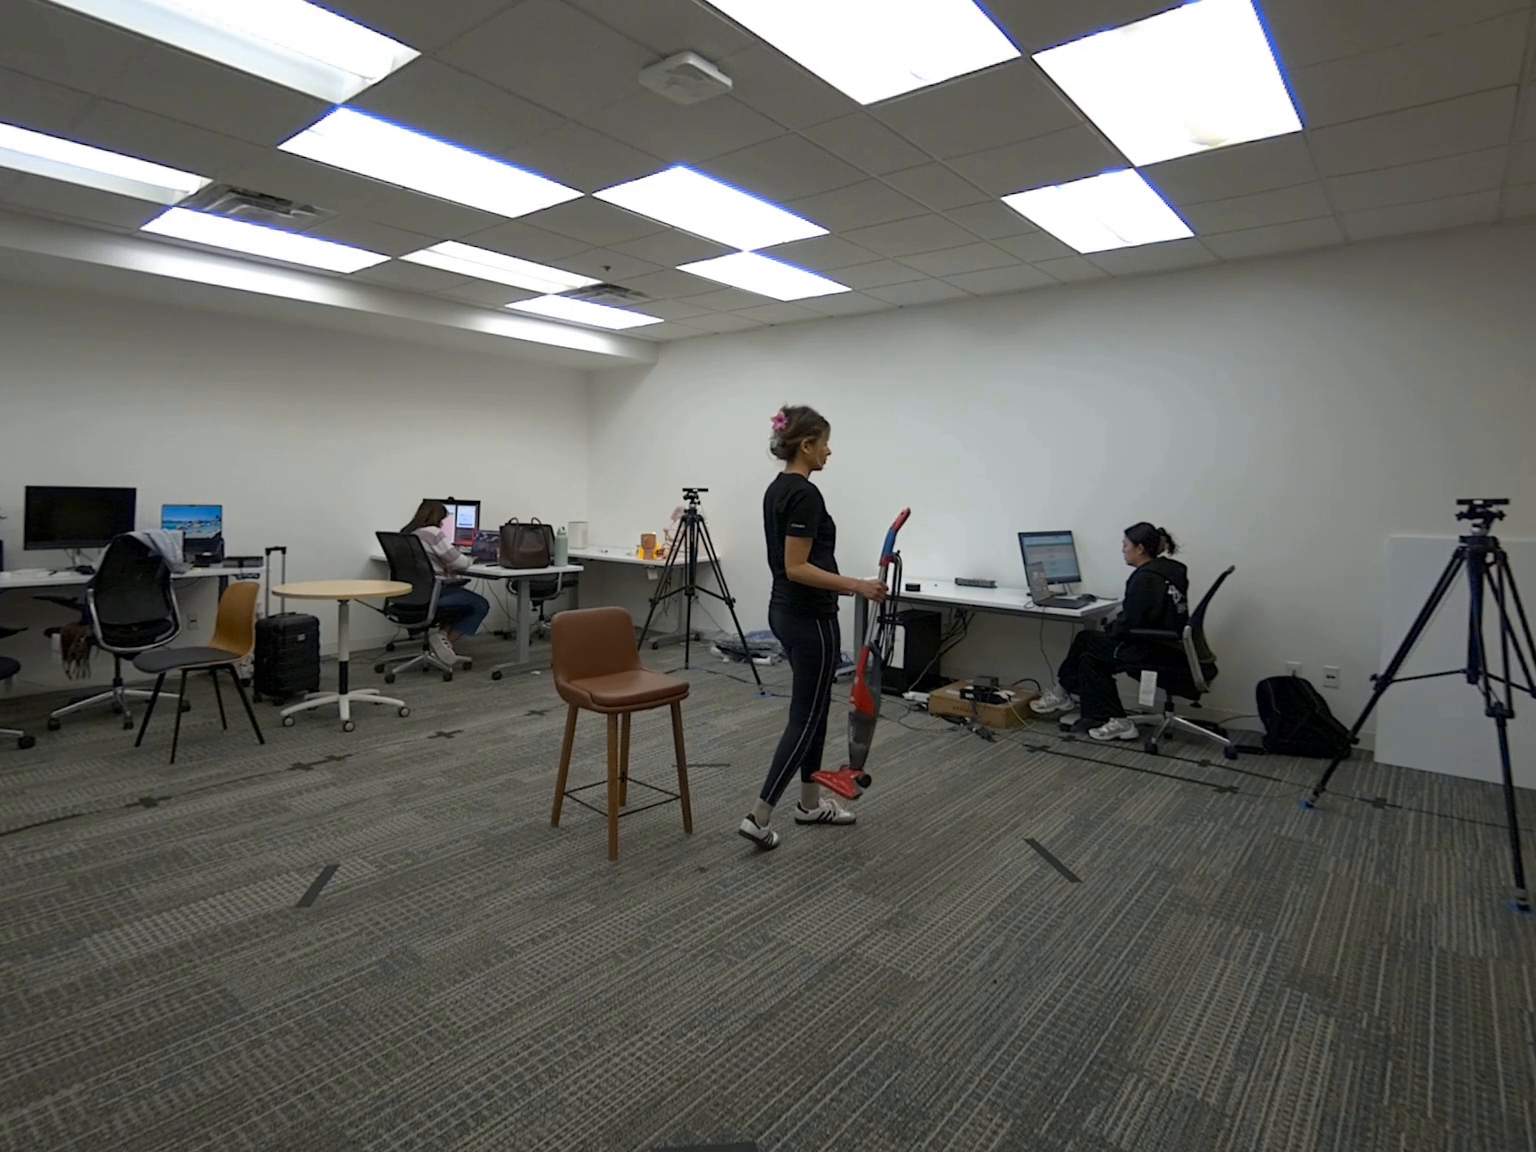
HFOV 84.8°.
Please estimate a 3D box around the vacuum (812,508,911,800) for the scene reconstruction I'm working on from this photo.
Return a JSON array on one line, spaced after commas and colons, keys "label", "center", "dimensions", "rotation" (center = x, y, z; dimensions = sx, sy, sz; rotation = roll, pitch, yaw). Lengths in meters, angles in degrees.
[{"label": "vacuum", "center": [0.401, 0.260, 3.175], "dimensions": [0.139, 1.053, 0.261], "rotation": [16, -6, -35]}]
